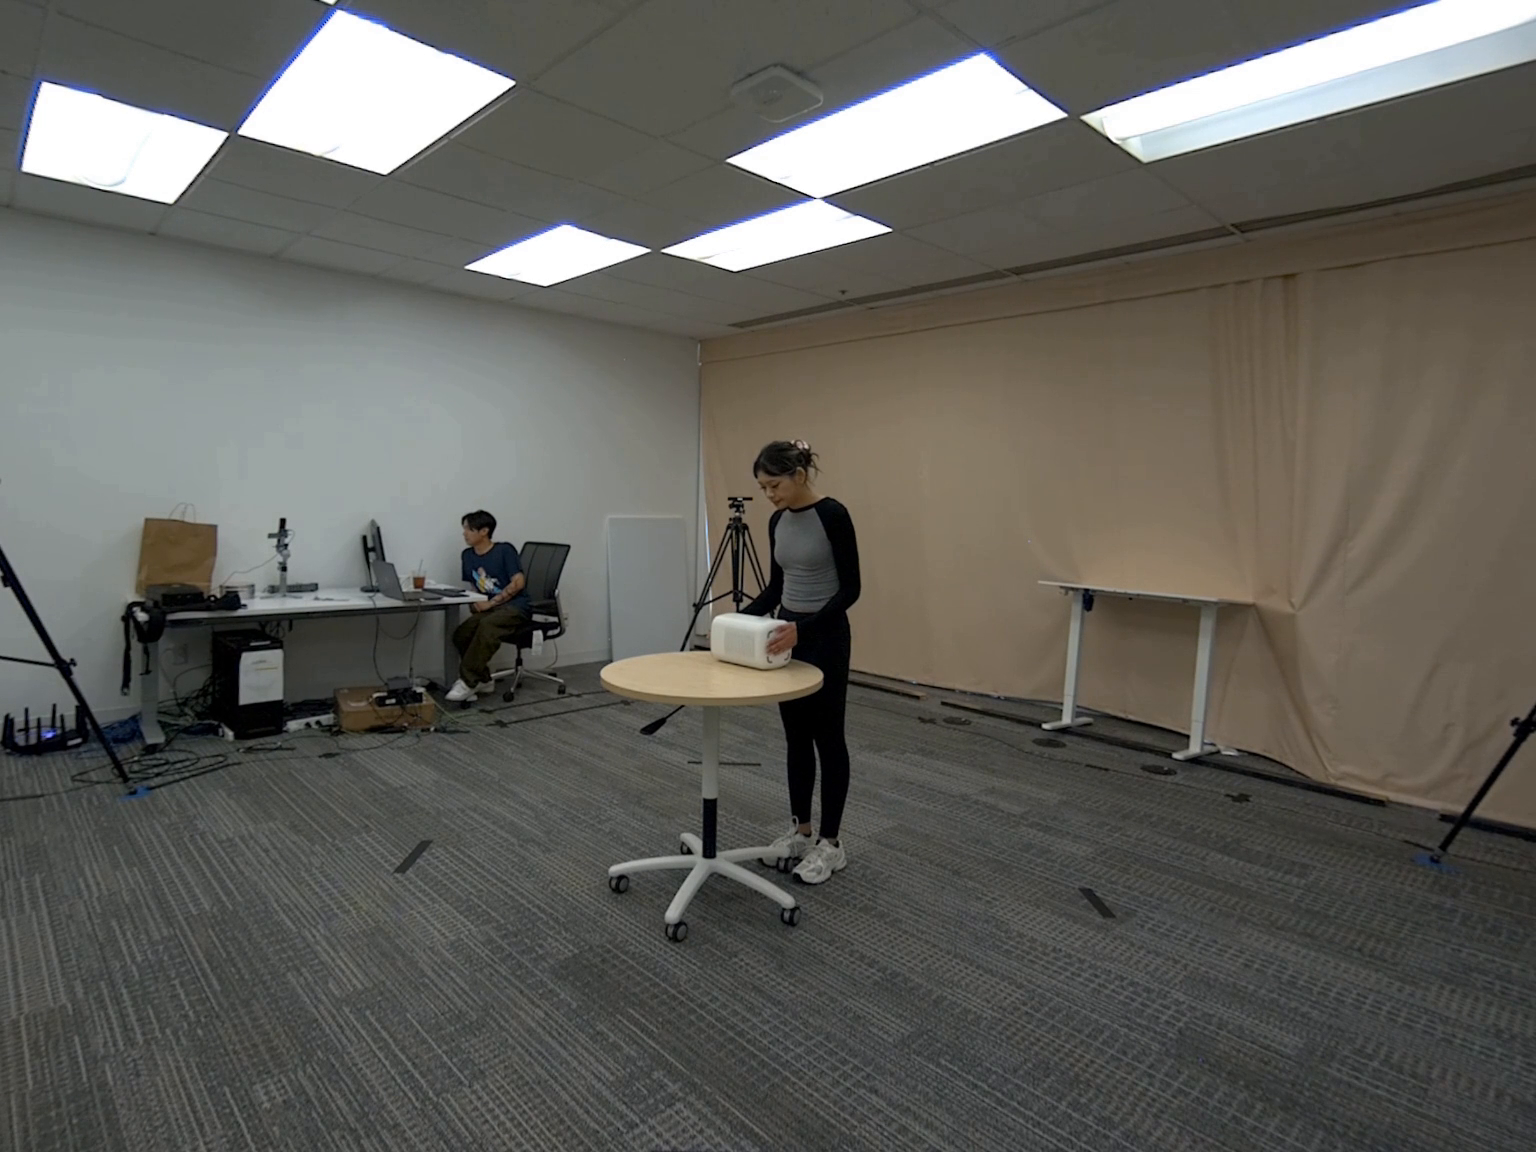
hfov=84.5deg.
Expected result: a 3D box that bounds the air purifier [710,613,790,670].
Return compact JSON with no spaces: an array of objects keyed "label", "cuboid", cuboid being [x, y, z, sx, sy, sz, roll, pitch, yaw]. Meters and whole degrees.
[{"label":"air purifier","cuboid":[-0.060,0.232,3.035,0.272,0.171,0.167,5,5,43]}]
